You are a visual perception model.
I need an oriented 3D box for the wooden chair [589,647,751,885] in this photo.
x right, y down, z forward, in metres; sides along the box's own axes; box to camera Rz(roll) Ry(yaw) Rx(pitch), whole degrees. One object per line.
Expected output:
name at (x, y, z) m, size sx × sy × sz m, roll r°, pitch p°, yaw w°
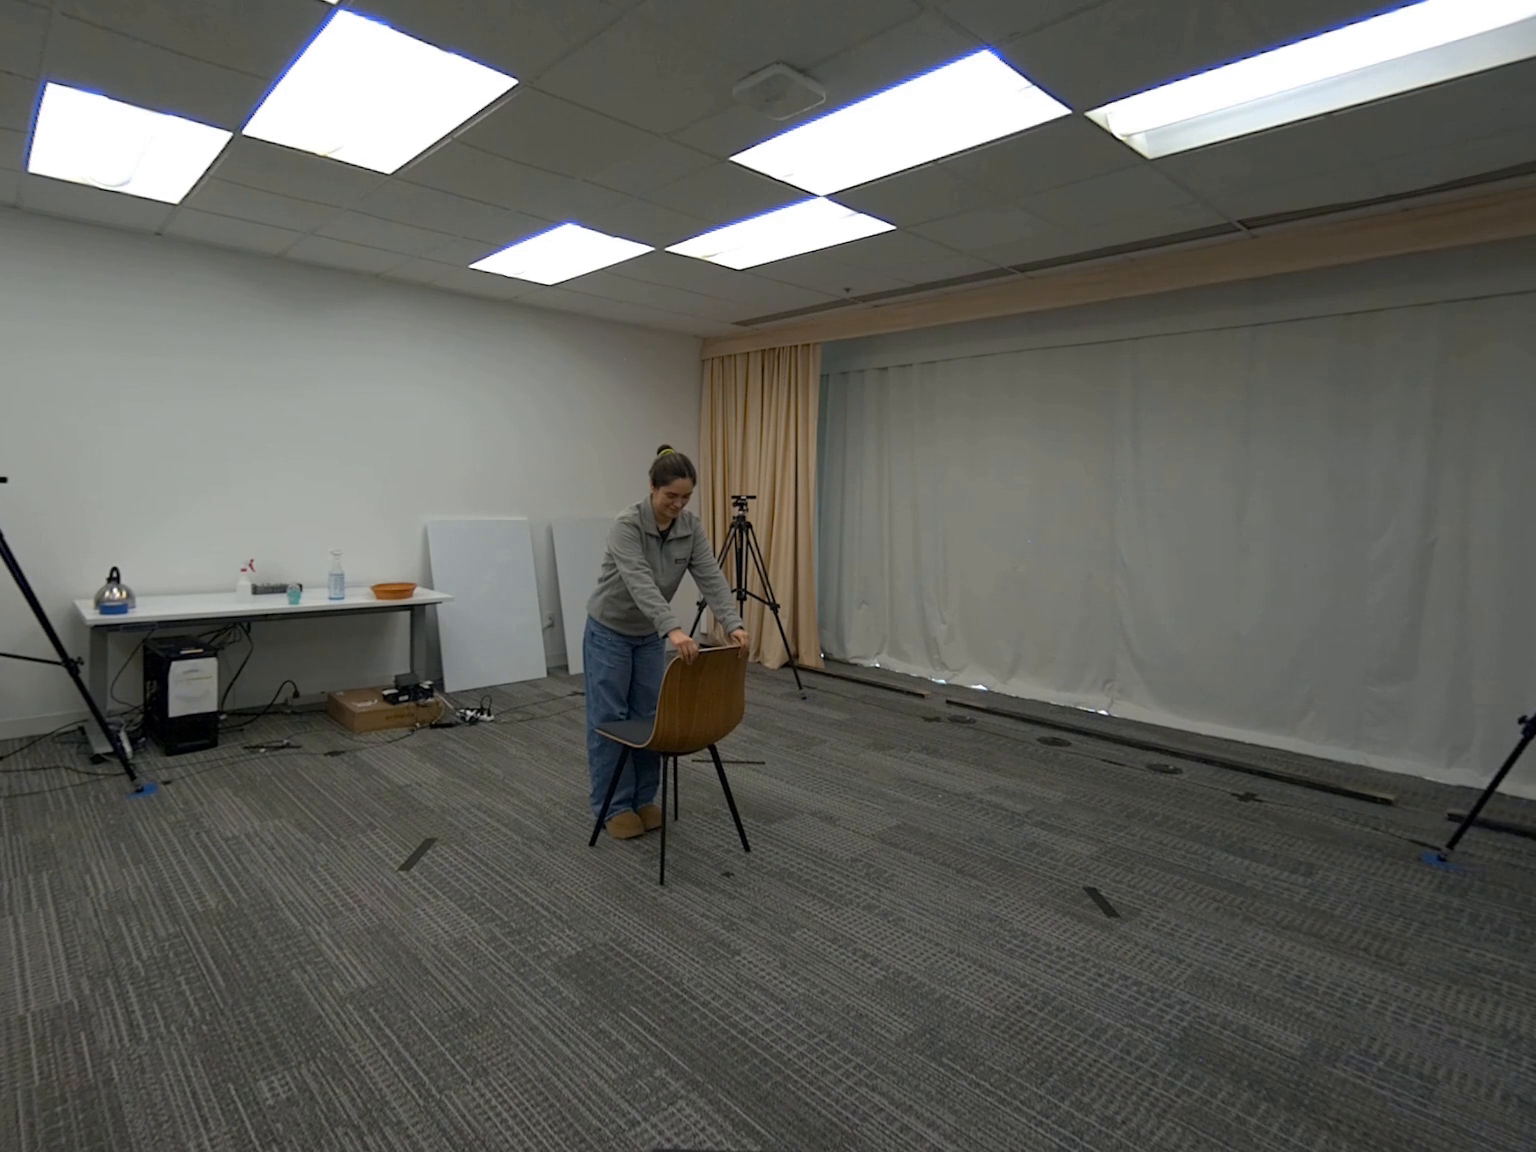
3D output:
wooden chair at (-0.384, 0.654, 3.285) m, size 0.467 × 0.874 × 0.537 m, roll -2°, pitch 9°, yaw -45°
